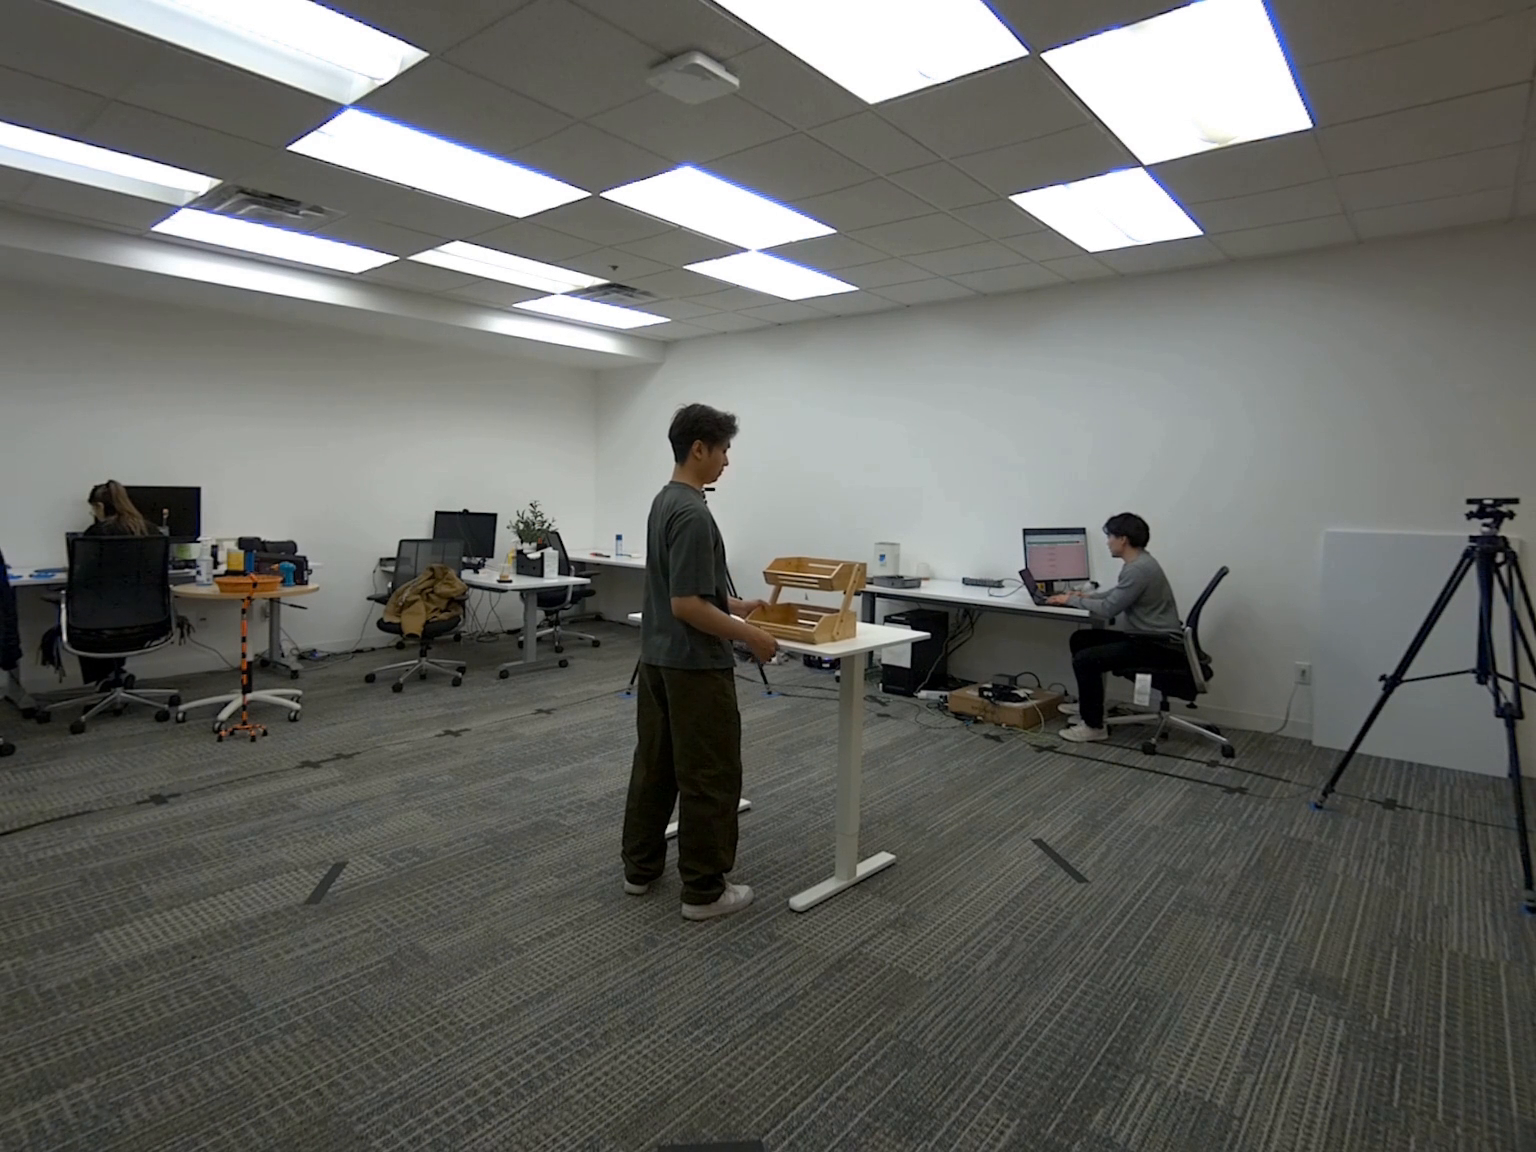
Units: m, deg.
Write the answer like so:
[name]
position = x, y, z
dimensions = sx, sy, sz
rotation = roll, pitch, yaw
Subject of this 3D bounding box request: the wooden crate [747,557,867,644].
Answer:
[wooden crate]
position = 0.125, 0.073, 2.993
dimensions = 0.335, 0.272, 0.293
rotation = 6, 6, 41
